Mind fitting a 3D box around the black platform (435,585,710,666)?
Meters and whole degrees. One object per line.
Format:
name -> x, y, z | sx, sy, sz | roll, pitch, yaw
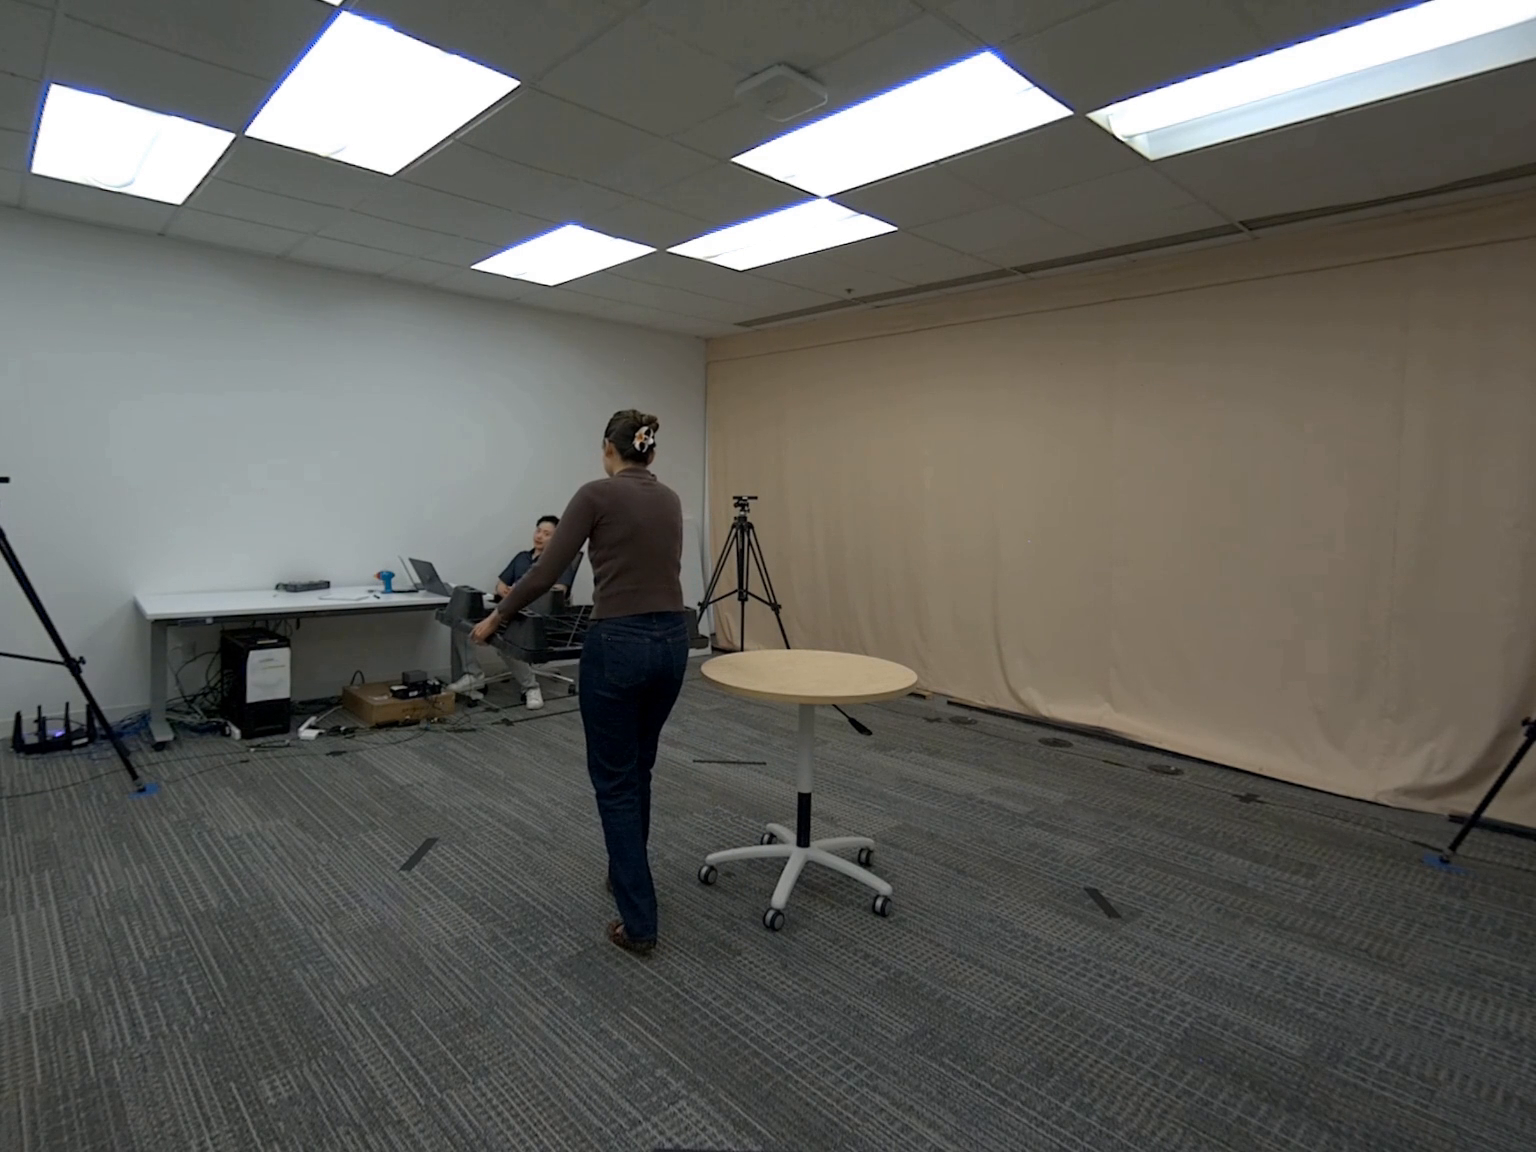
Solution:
black platform -> -0.689, 0.148, 3.027 | 0.622, 0.143, 0.786 | 14, 10, 41
